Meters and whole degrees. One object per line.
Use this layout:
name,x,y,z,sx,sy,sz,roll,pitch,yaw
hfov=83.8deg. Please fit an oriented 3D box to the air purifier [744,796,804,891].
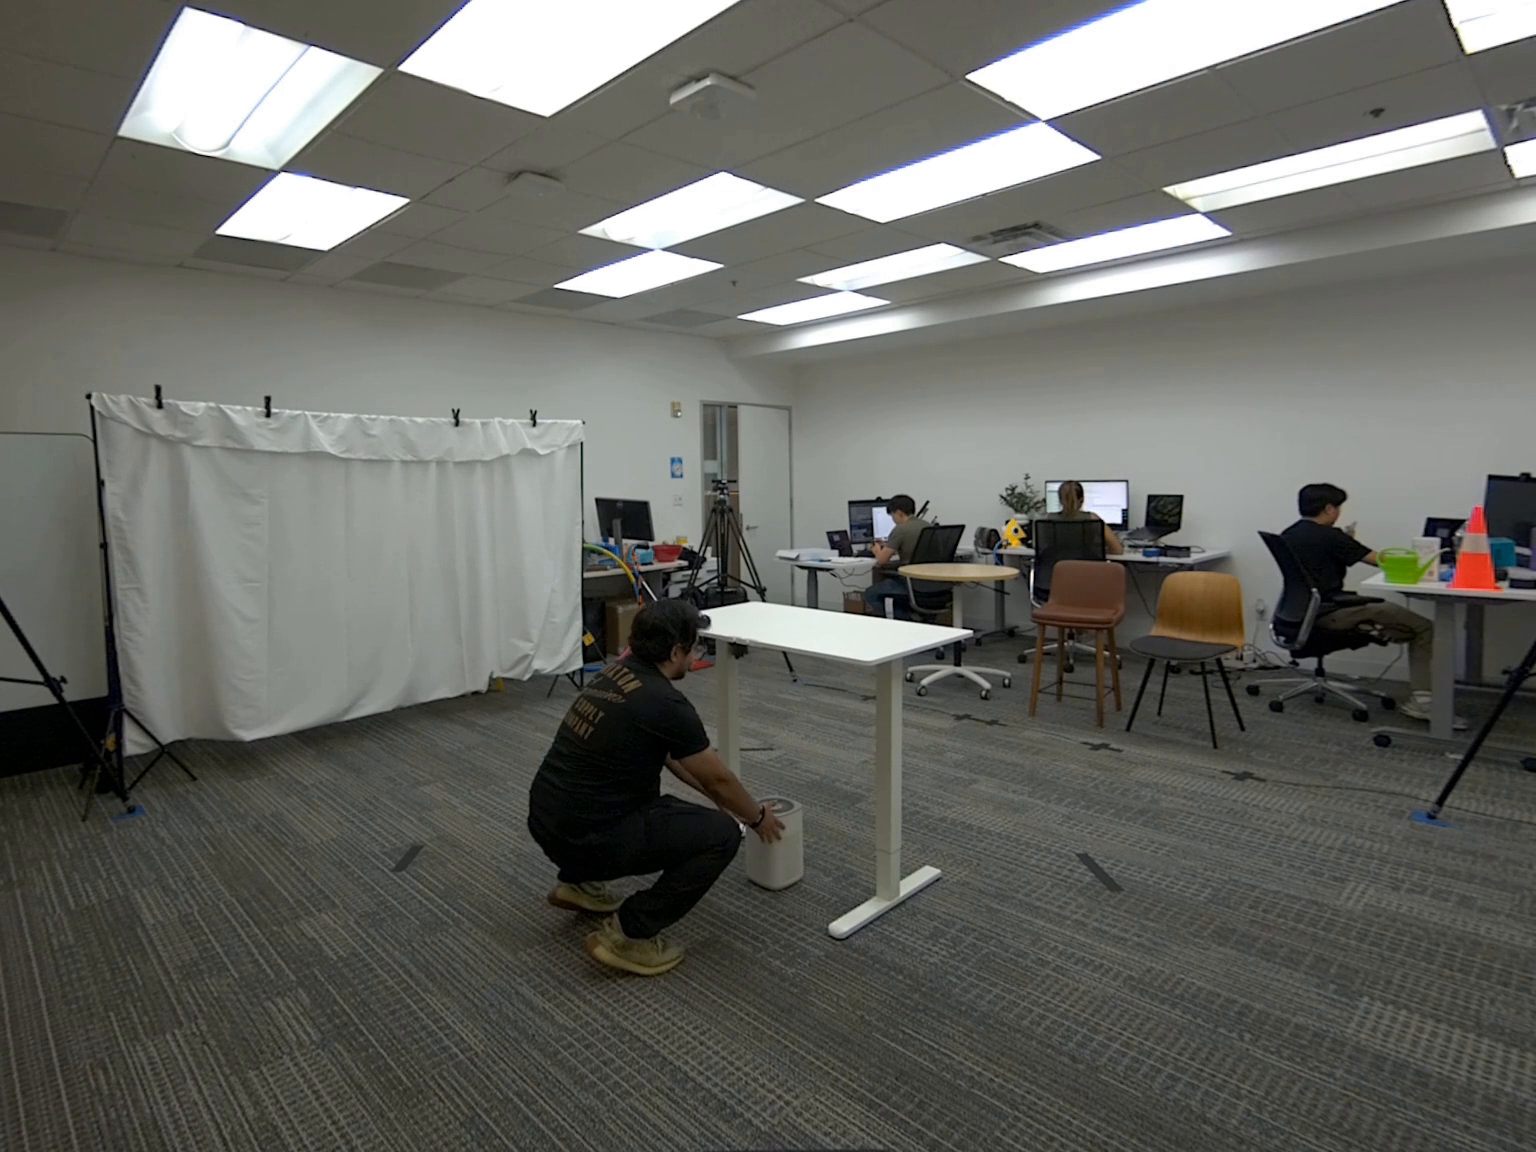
air purifier,0.024,0.927,2.976,0.167,0.264,0.176,-4,5,-44
